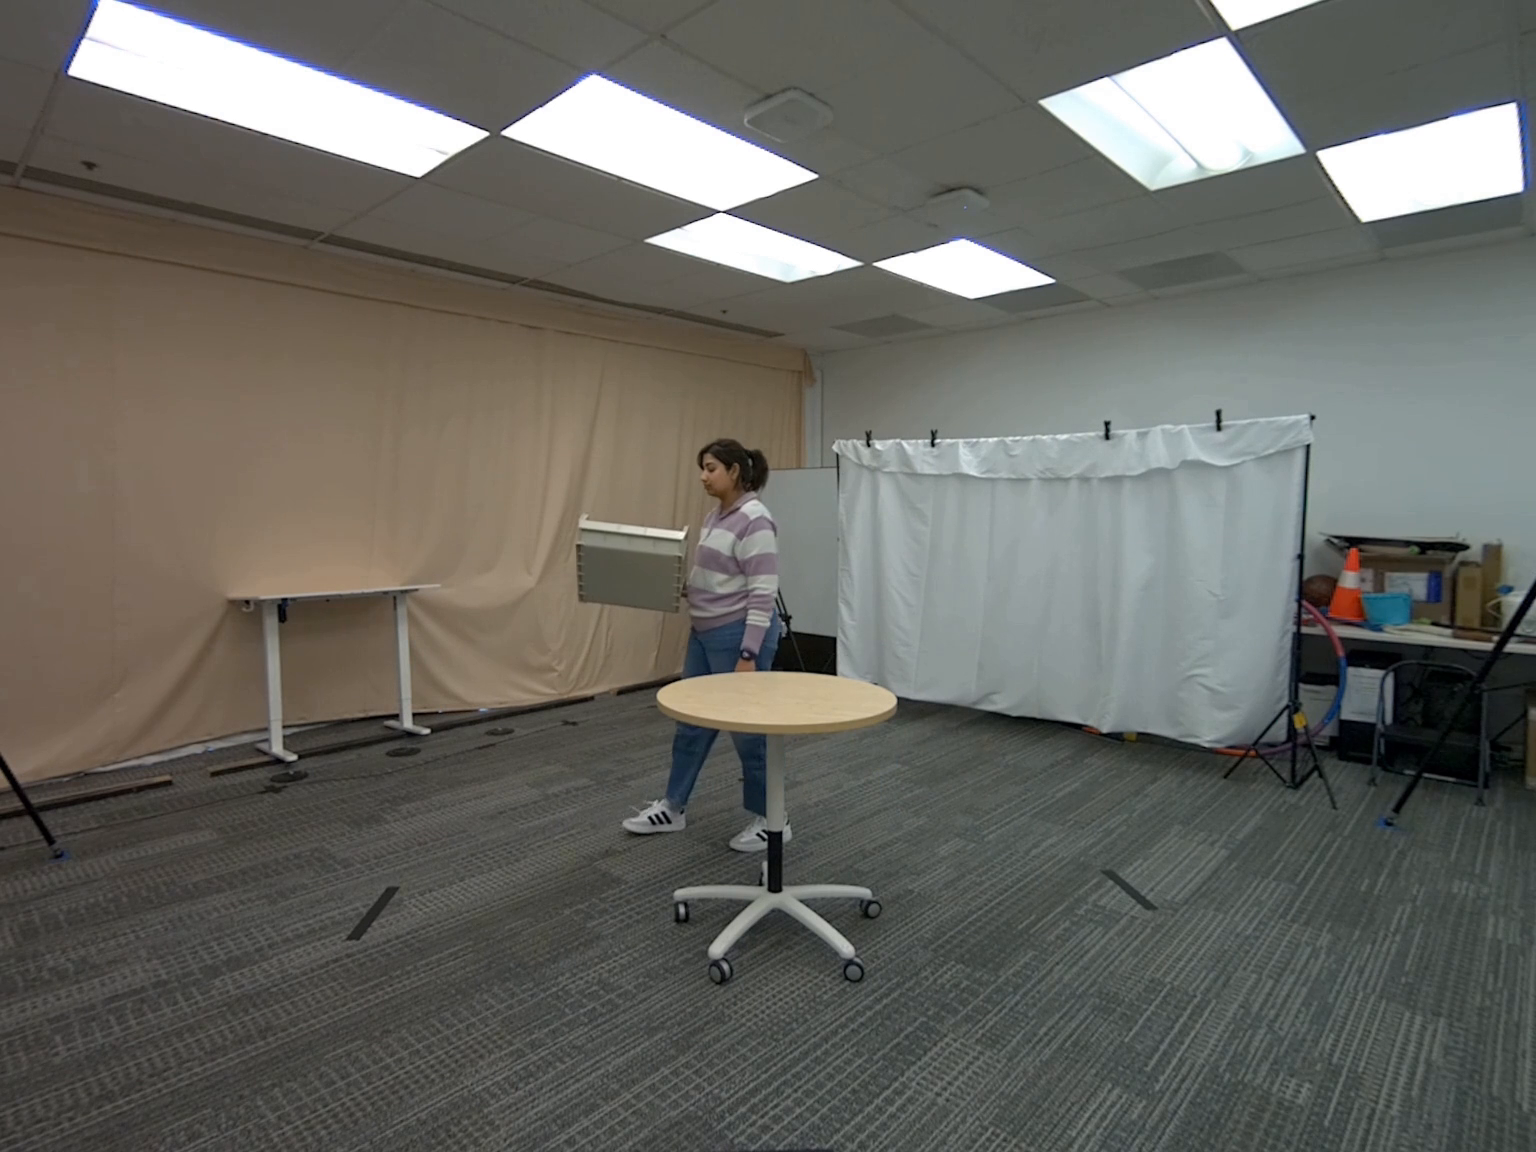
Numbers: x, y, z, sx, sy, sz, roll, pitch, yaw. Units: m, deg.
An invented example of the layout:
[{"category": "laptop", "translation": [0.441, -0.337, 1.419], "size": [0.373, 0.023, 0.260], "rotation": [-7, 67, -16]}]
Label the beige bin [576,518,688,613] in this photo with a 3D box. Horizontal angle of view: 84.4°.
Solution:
[{"category": "beige bin", "translation": [-0.536, -0.055, 3.343], "size": [0.423, 0.372, 0.191], "rotation": [7, 39, 1]}]
